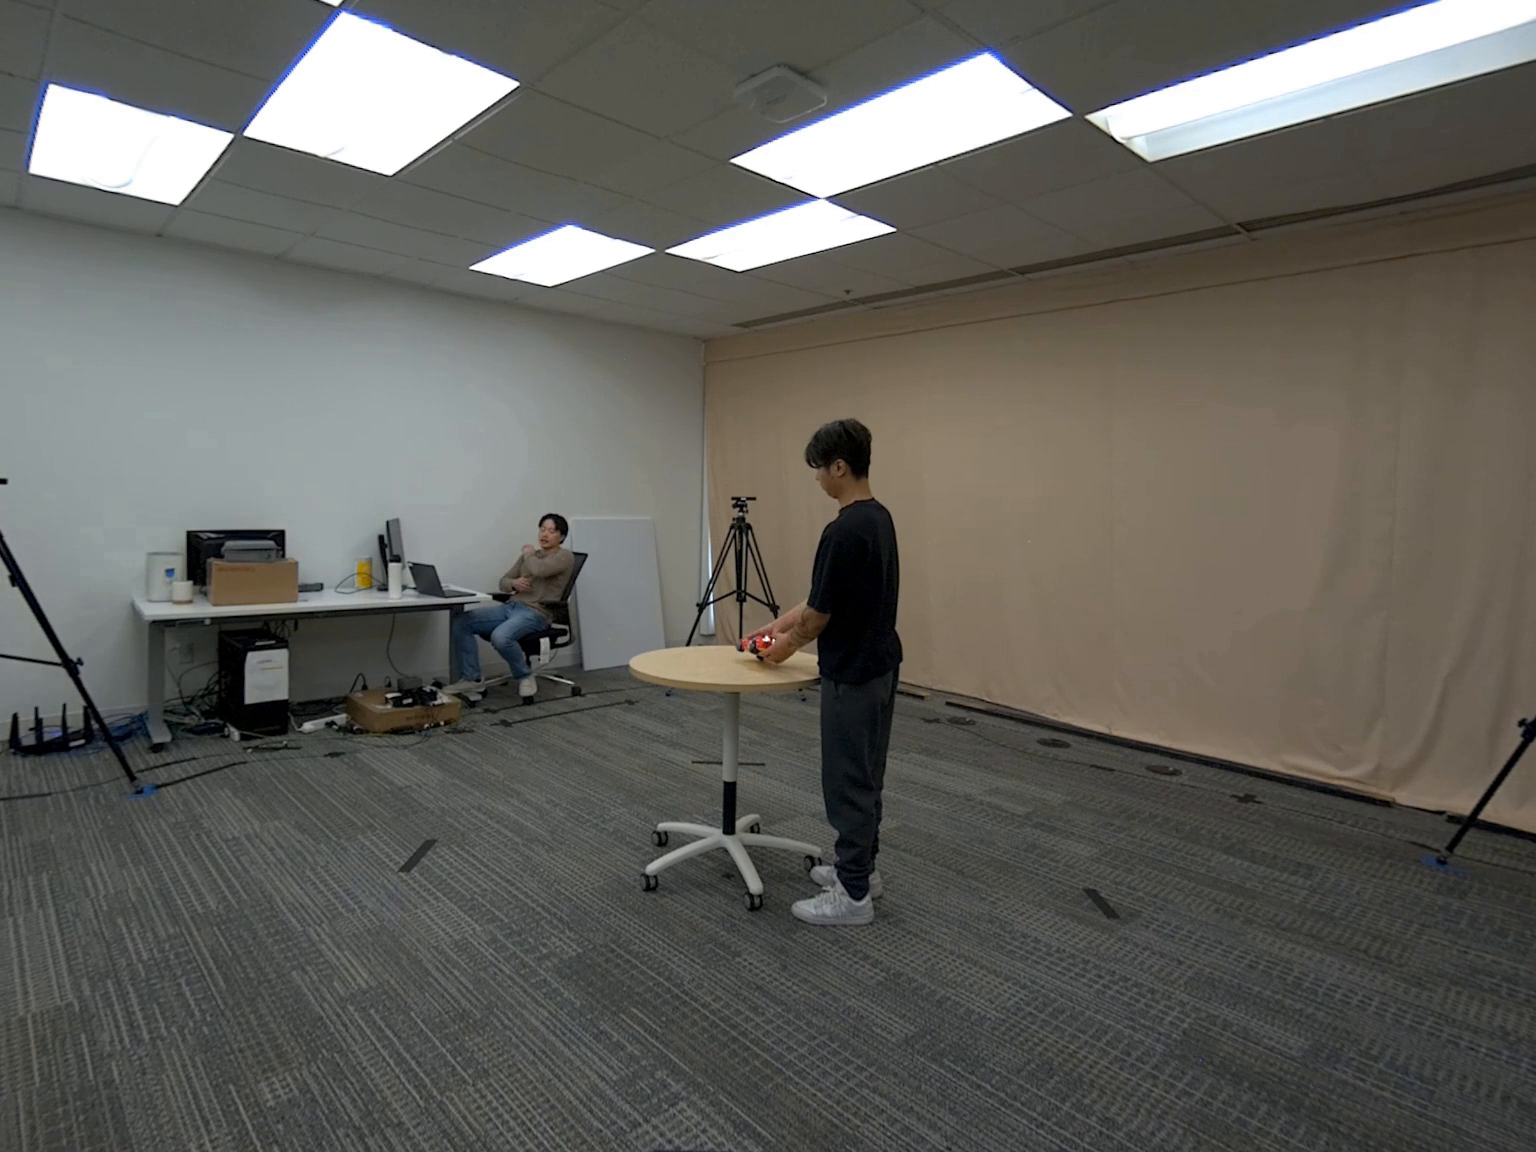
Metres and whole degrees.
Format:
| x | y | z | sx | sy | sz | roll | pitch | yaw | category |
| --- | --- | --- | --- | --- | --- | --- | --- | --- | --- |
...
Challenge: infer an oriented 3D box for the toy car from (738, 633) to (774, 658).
| x | y | z | sx | sy | sz | roll | pitch | yaw | category |
| --- | --- | --- | --- | --- | --- | --- | --- | --- | --- |
| -0.031 | 0.268 | 3.086 | 0.128 | 0.084 | 0.256 | 21 | -18 | -16 | toy car |
